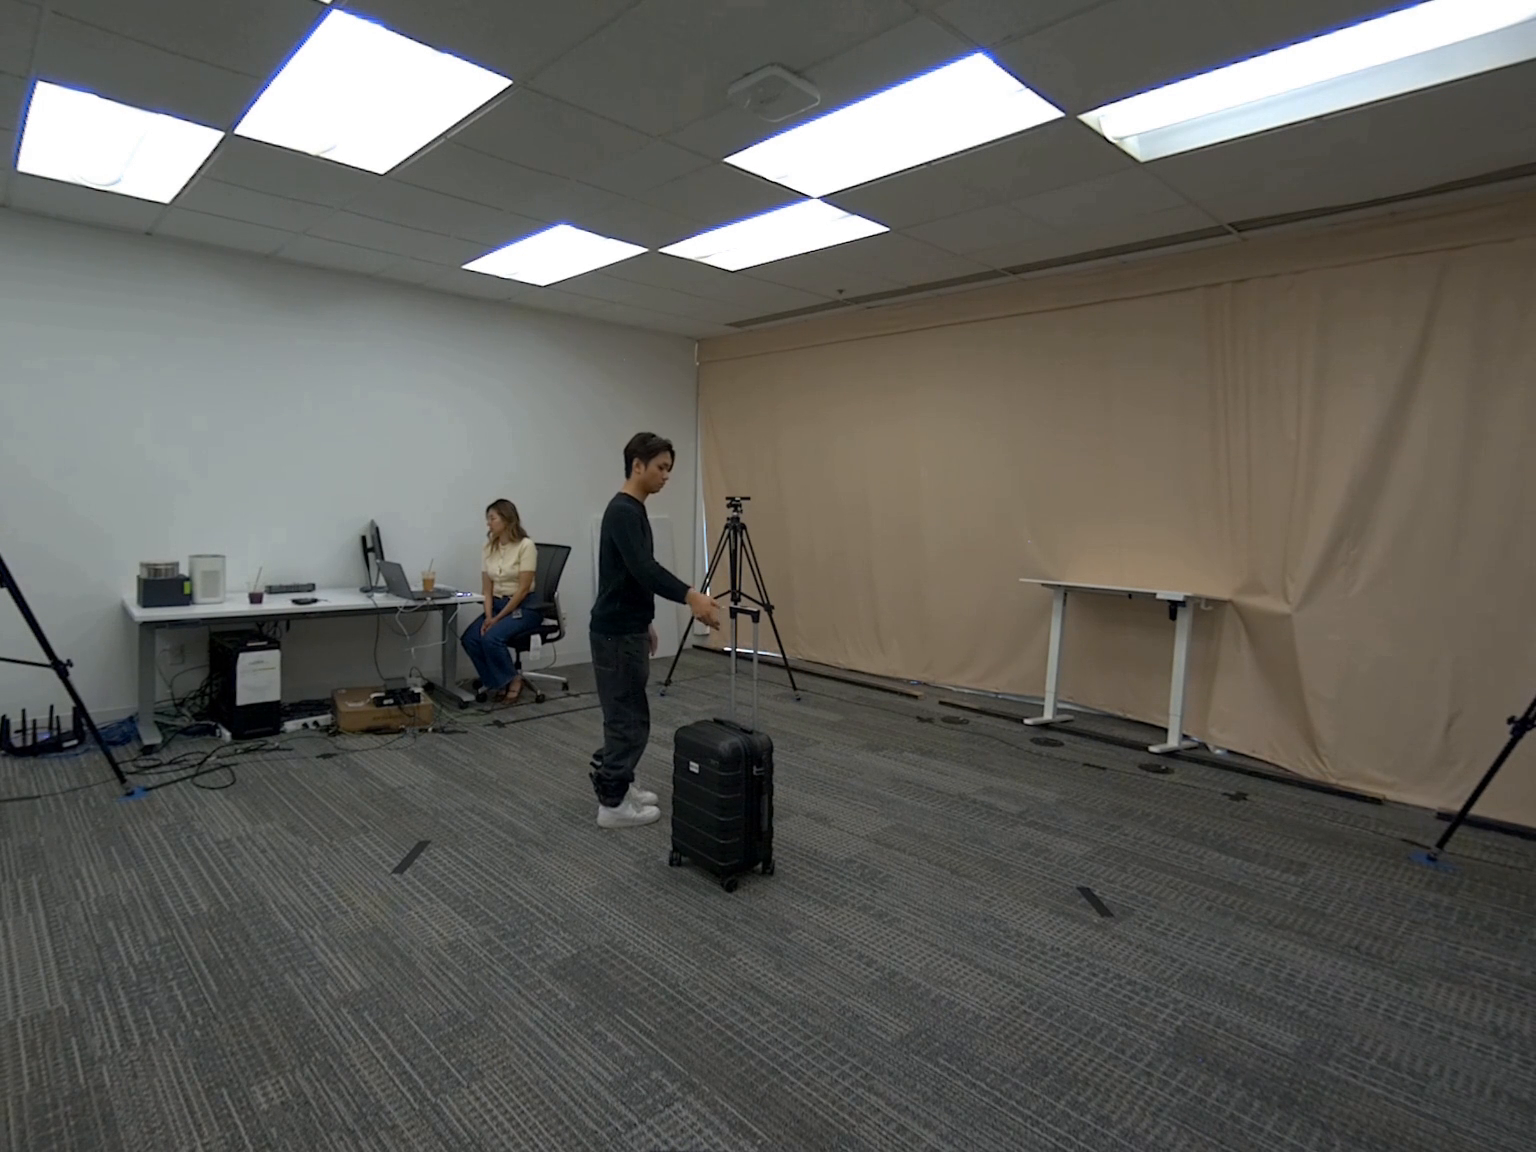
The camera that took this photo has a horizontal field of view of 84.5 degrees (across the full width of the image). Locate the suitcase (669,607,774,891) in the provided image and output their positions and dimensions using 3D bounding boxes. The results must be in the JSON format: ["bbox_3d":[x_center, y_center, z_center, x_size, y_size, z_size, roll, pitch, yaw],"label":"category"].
[{"bbox_3d":[-0.176,0.626,3.123,0.251,0.975,0.394,-4,6,-43],"label":"suitcase"}]
